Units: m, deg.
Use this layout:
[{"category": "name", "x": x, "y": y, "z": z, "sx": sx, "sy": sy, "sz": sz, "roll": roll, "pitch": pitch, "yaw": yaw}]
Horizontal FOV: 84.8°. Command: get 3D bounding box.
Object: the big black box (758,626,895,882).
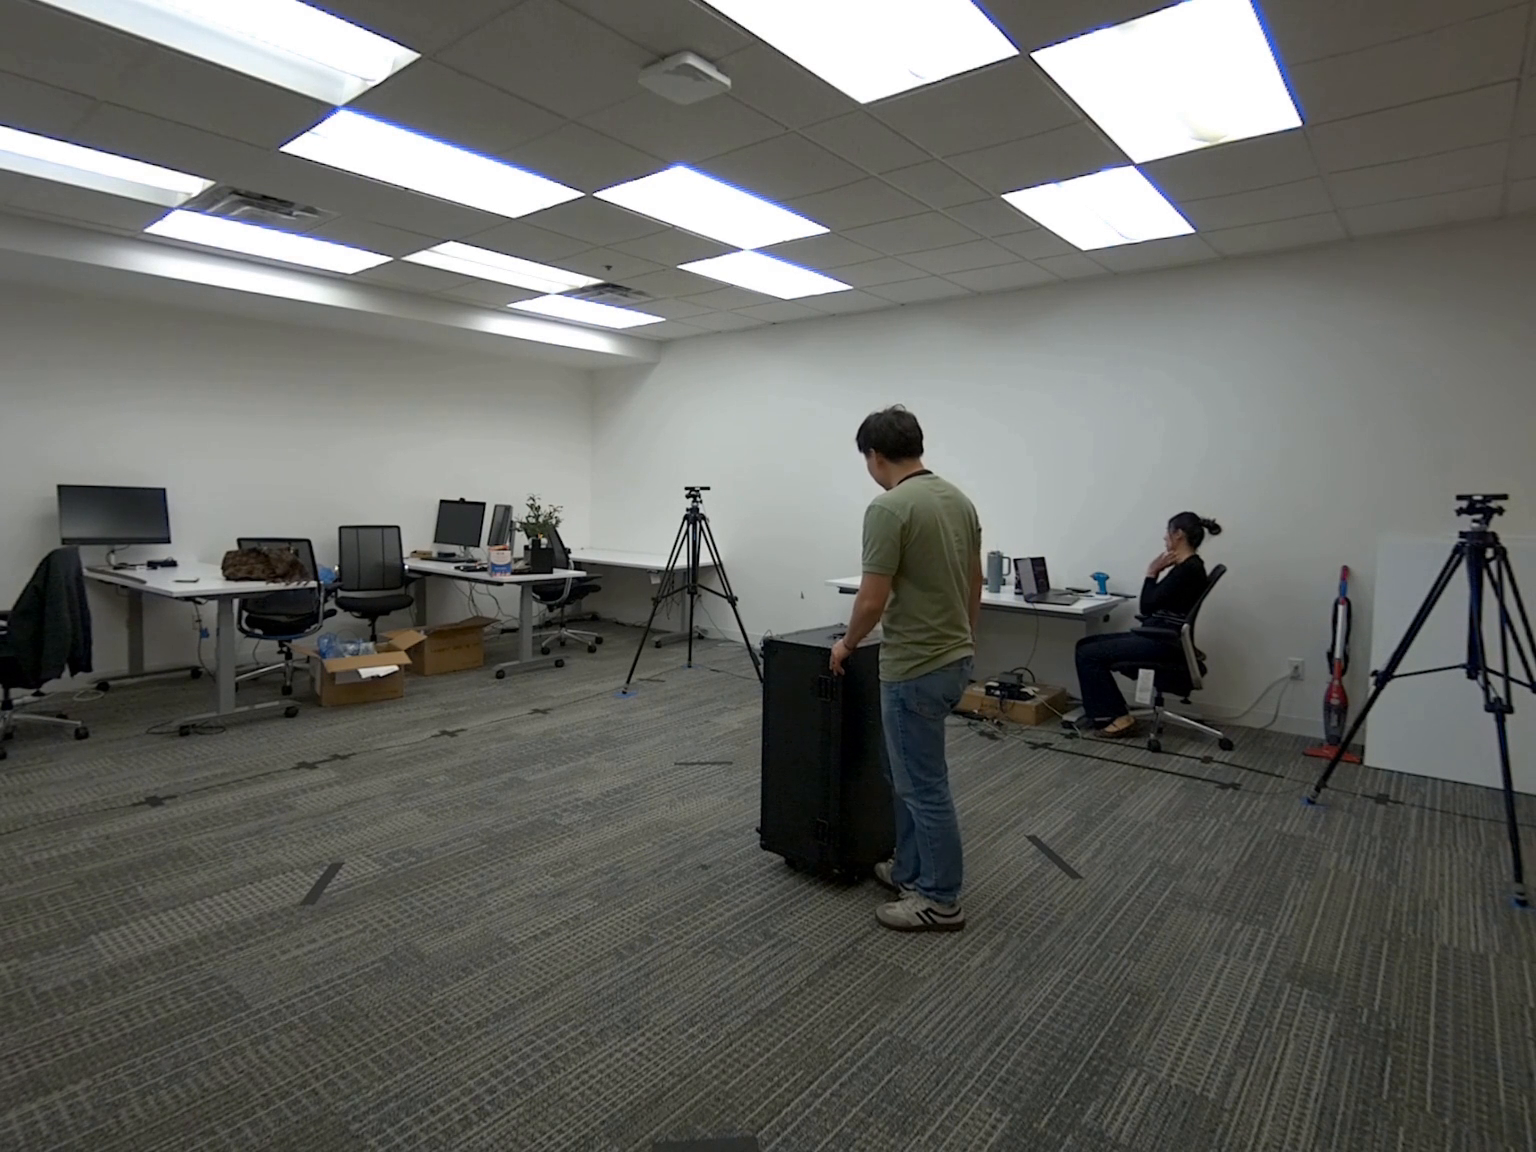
[{"category": "big black box", "x": 0.241, "y": 0.640, "z": 3.168, "sx": 0.409, "sy": 0.859, "sz": 0.505, "roll": 2, "pitch": 3, "yaw": 42}]
